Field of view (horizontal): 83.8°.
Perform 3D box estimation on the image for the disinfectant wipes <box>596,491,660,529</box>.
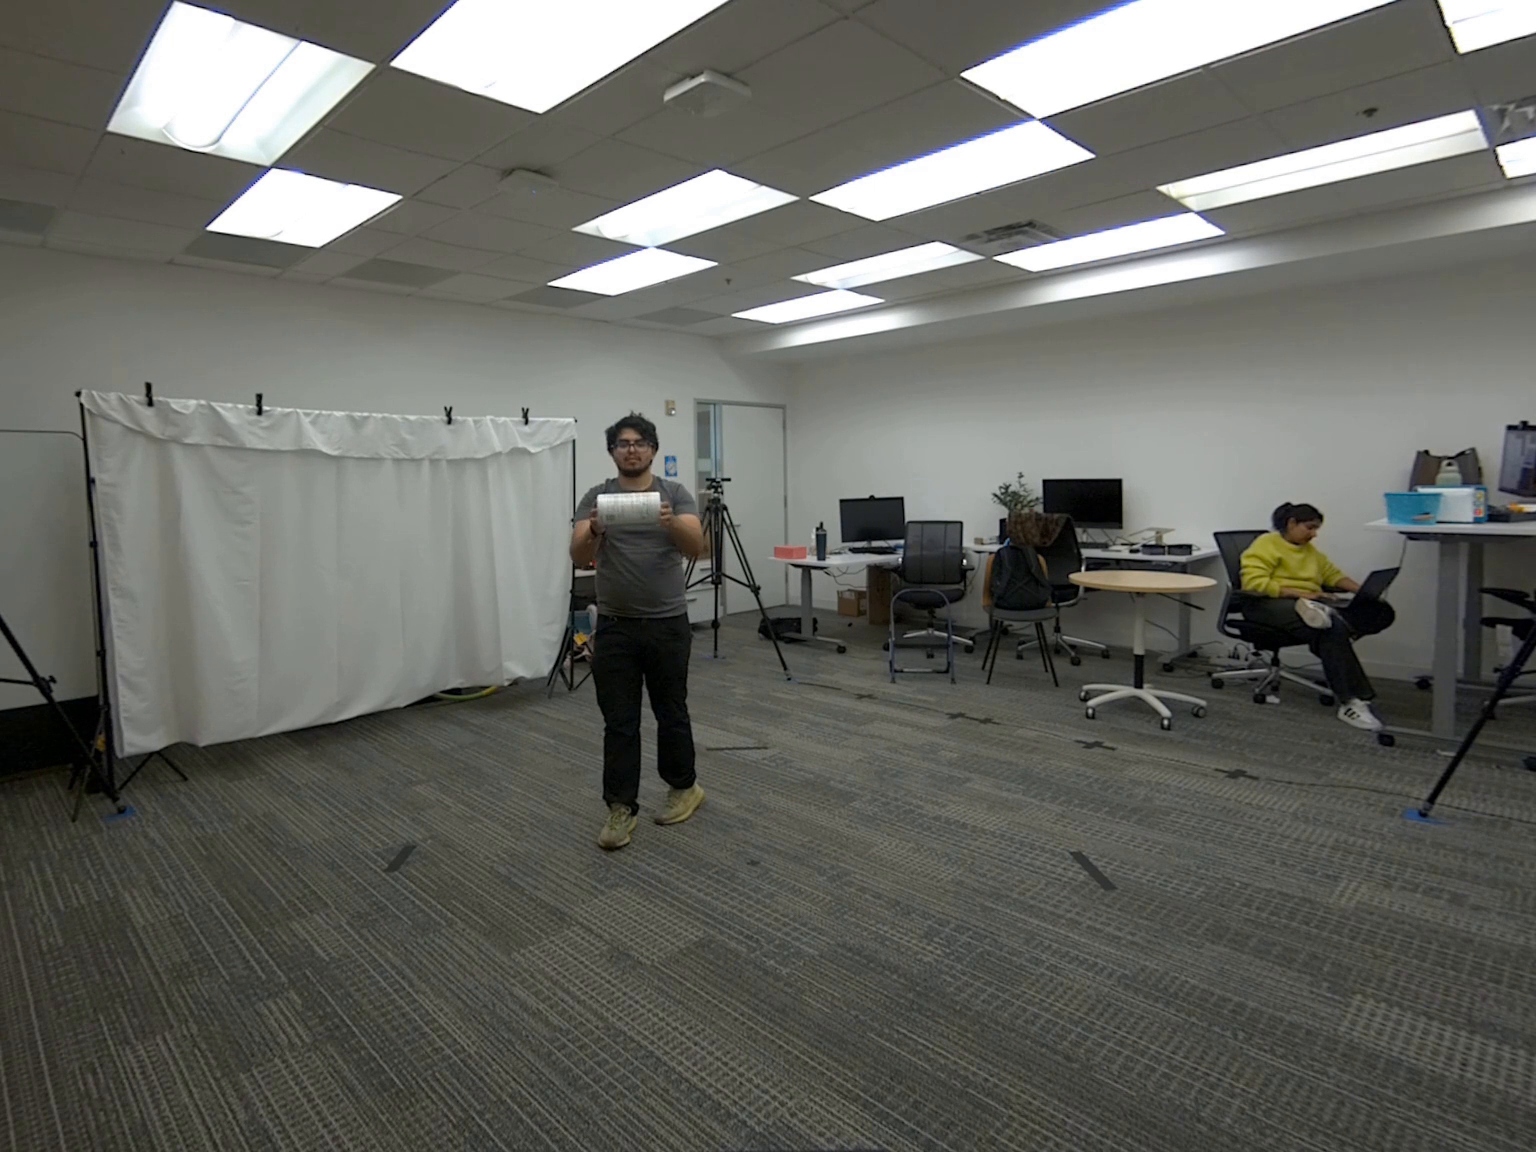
[{"bbox_3d":[-0.489,-0.231,2.935,0.216,0.117,0.119,-5,5,-7],"label":"disinfectant wipes"}]
